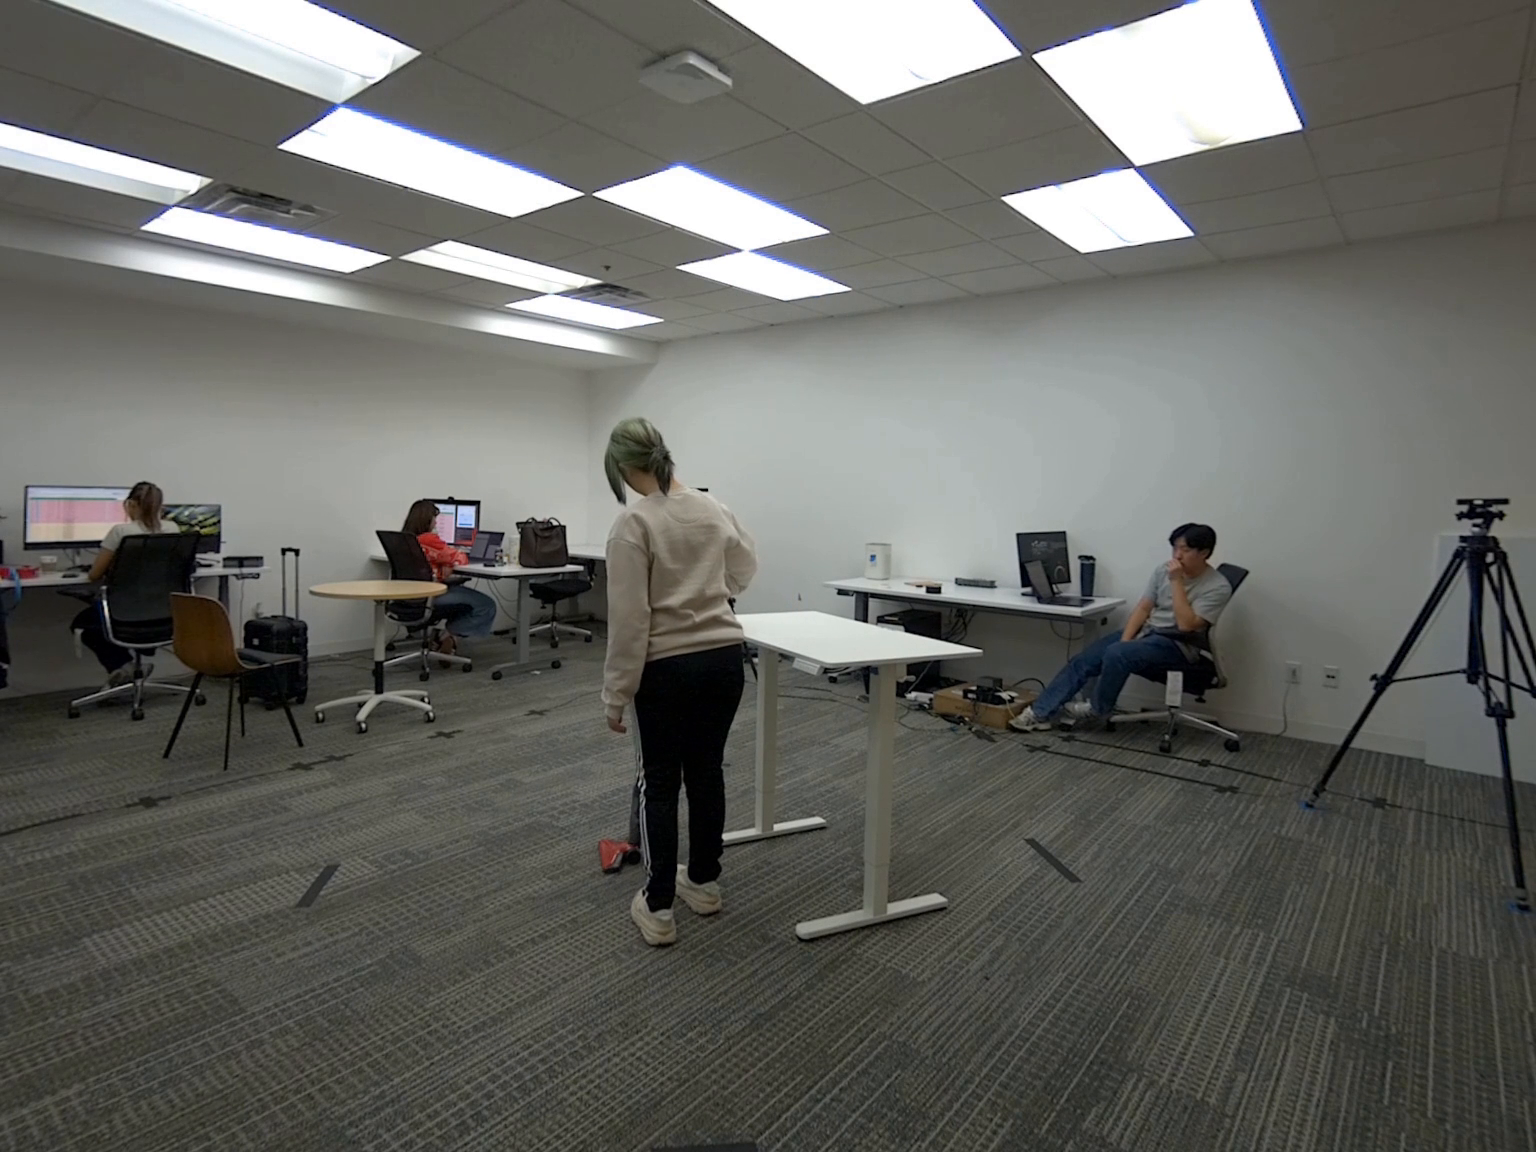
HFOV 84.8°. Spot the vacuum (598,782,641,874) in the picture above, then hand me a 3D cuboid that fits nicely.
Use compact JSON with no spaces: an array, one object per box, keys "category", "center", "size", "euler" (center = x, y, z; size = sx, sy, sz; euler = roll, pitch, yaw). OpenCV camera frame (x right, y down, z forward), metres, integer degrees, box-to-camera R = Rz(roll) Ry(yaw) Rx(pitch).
[{"category":"vacuum","center":[-0.380,0.569,3.210],"size":[0.140,1.050,0.259],"euler":[23,-3,-23]}]
